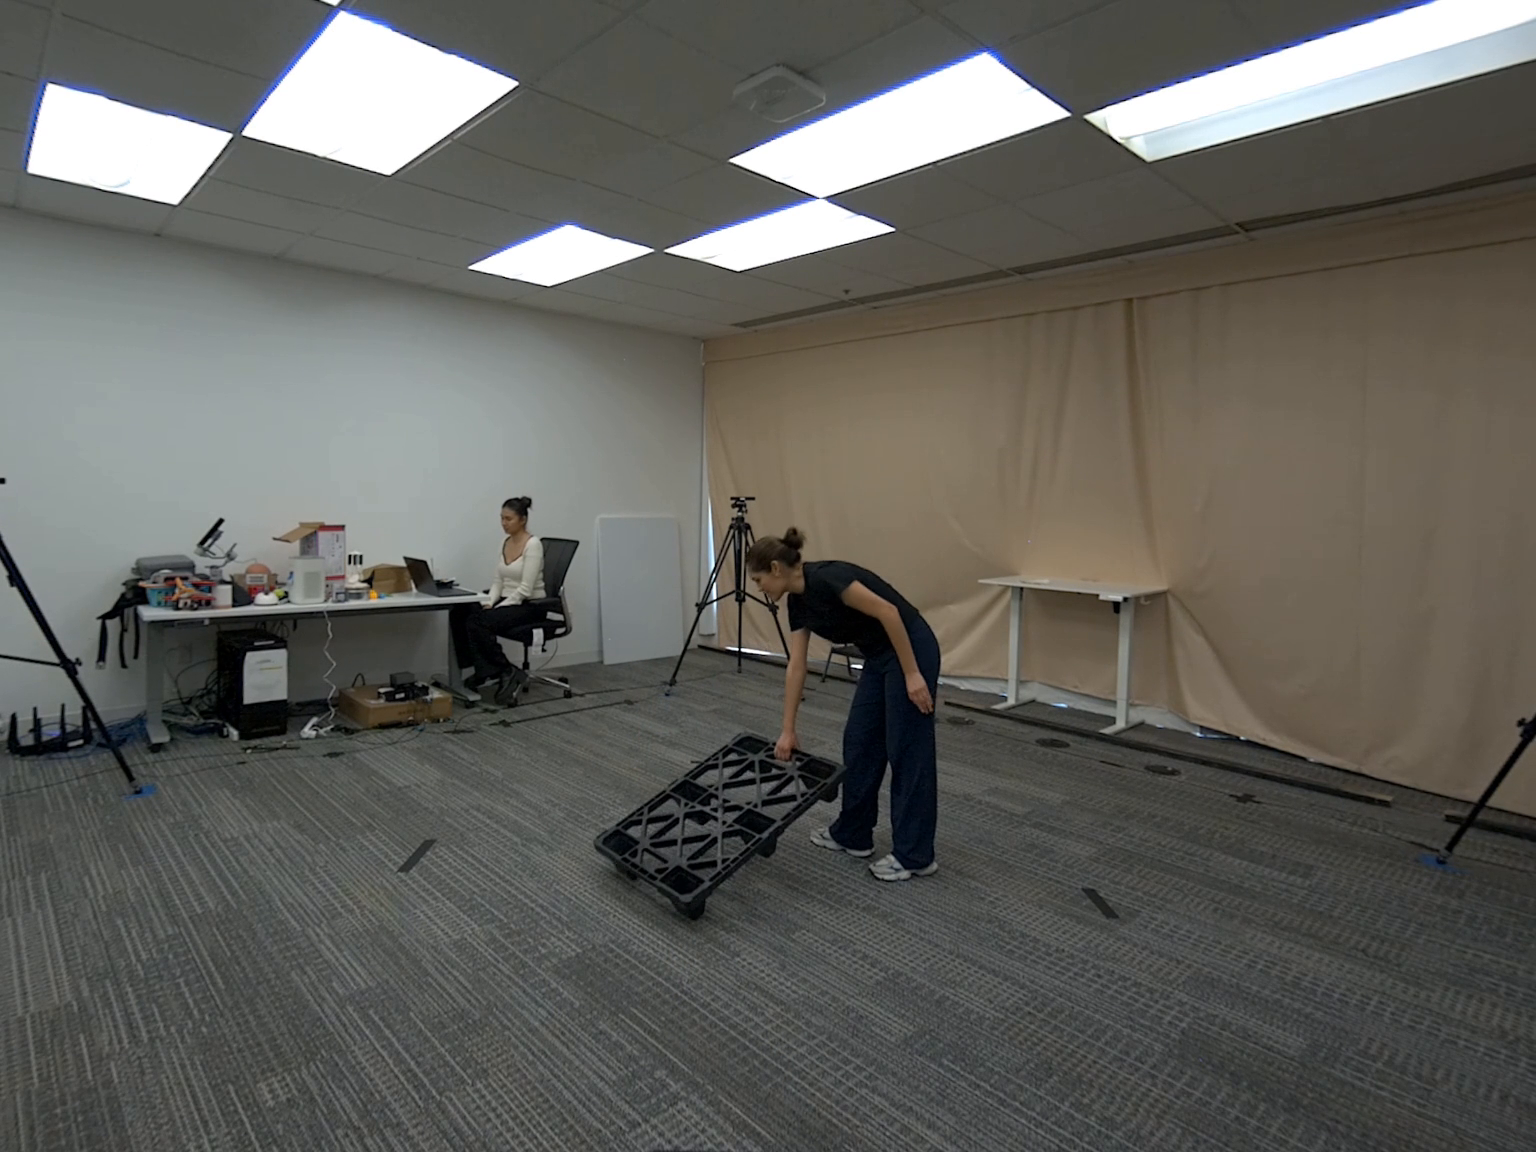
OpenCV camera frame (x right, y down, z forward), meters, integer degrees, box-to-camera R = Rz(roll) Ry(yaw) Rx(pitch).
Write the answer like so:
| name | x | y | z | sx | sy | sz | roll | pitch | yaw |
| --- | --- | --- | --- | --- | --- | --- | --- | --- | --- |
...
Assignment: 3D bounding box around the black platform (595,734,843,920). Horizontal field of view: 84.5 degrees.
| name | x | y | z | sx | sy | sz | roll | pitch | yaw |
| --- | --- | --- | --- | --- | --- | --- | --- | --- | --- |
| black platform | -0.167 | 0.914 | 3.119 | 0.798 | 0.141 | 0.620 | -31 | 23 | -35 |
